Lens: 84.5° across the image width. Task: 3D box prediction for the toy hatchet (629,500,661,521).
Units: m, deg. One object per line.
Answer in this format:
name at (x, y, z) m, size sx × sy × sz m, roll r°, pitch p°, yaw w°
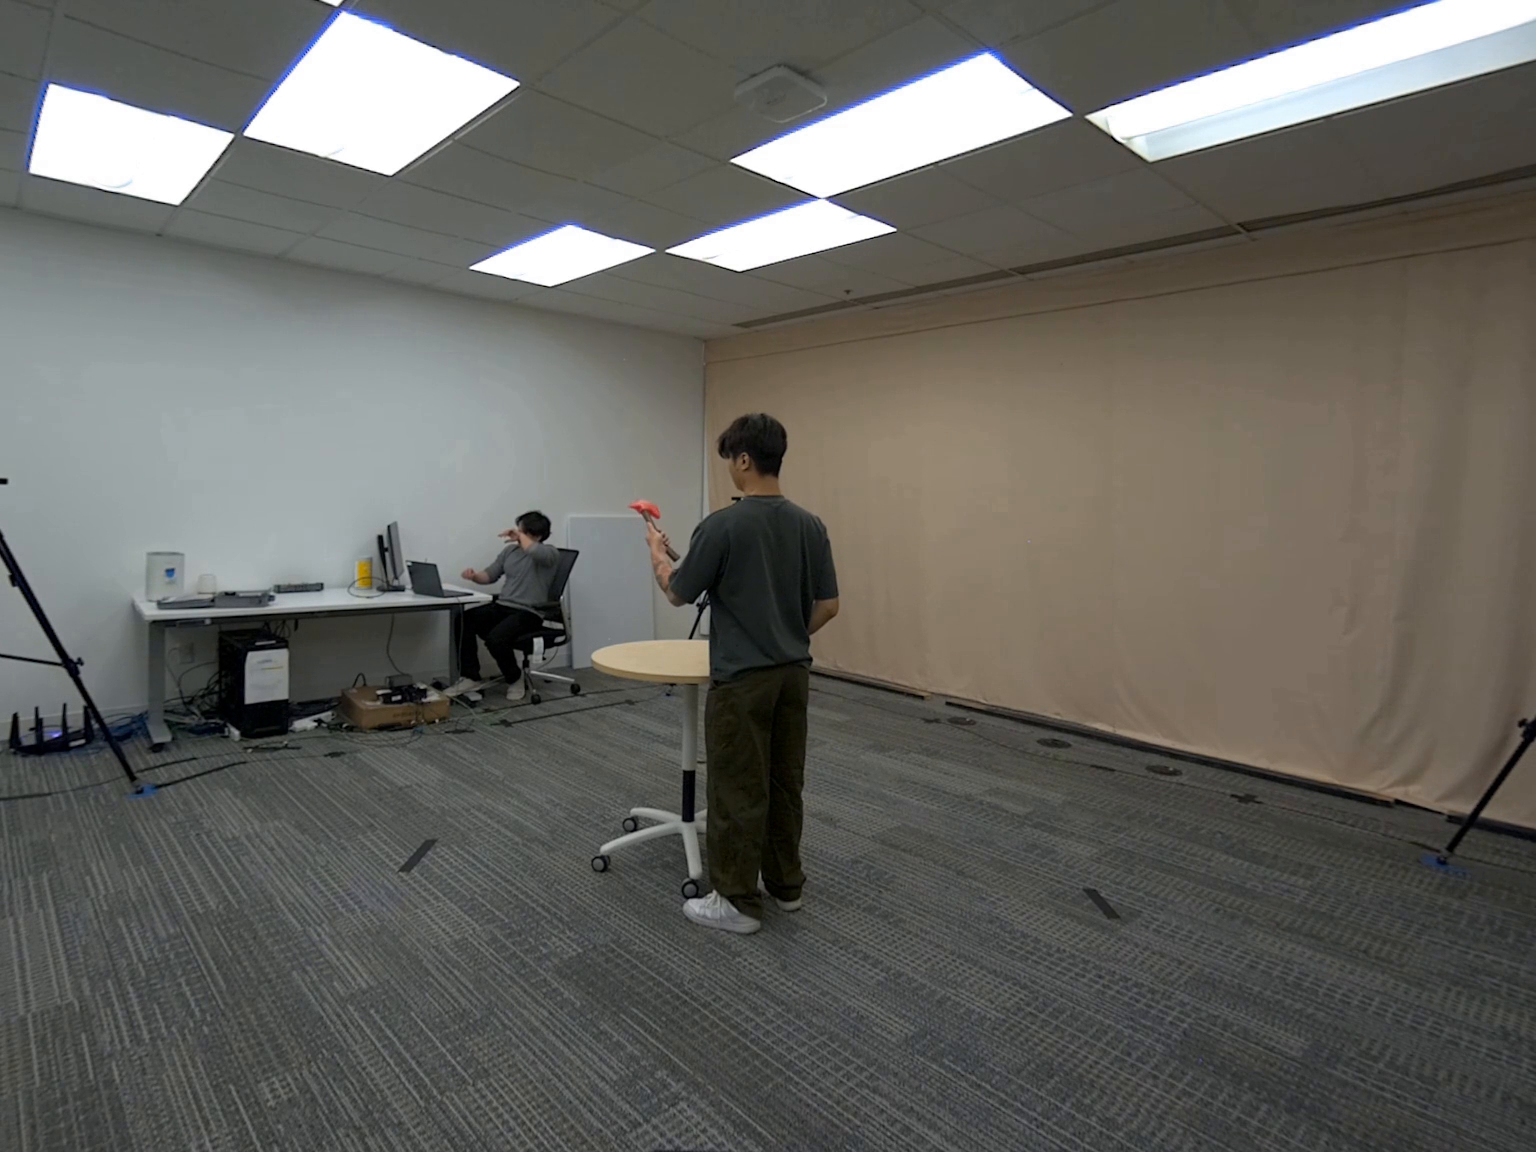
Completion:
toy hatchet at (-0.389, -0.169, 3.020) m, size 0.029 × 0.272 × 0.130 m, roll -45°, pitch -9°, yaw 30°
